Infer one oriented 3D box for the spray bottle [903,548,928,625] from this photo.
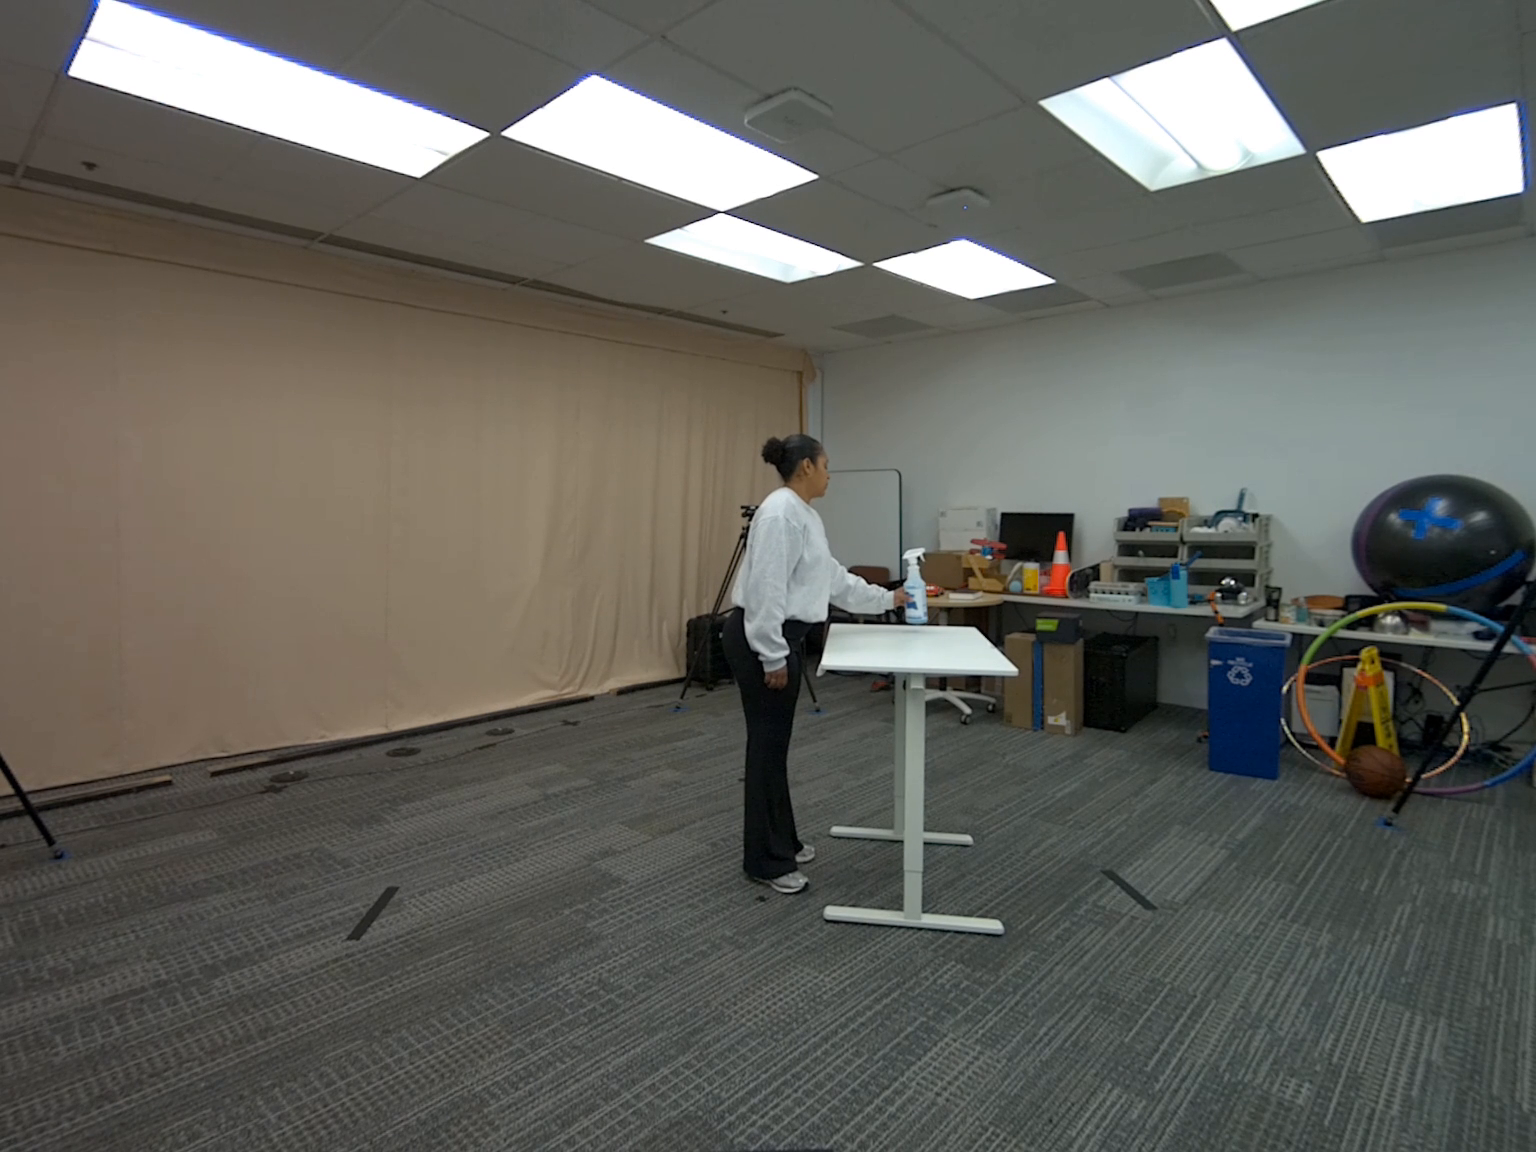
[{"bbox_3d":[0.590,0.048,3.378,0.091,0.296,0.086,-3,8,16],"label":"spray bottle"}]
